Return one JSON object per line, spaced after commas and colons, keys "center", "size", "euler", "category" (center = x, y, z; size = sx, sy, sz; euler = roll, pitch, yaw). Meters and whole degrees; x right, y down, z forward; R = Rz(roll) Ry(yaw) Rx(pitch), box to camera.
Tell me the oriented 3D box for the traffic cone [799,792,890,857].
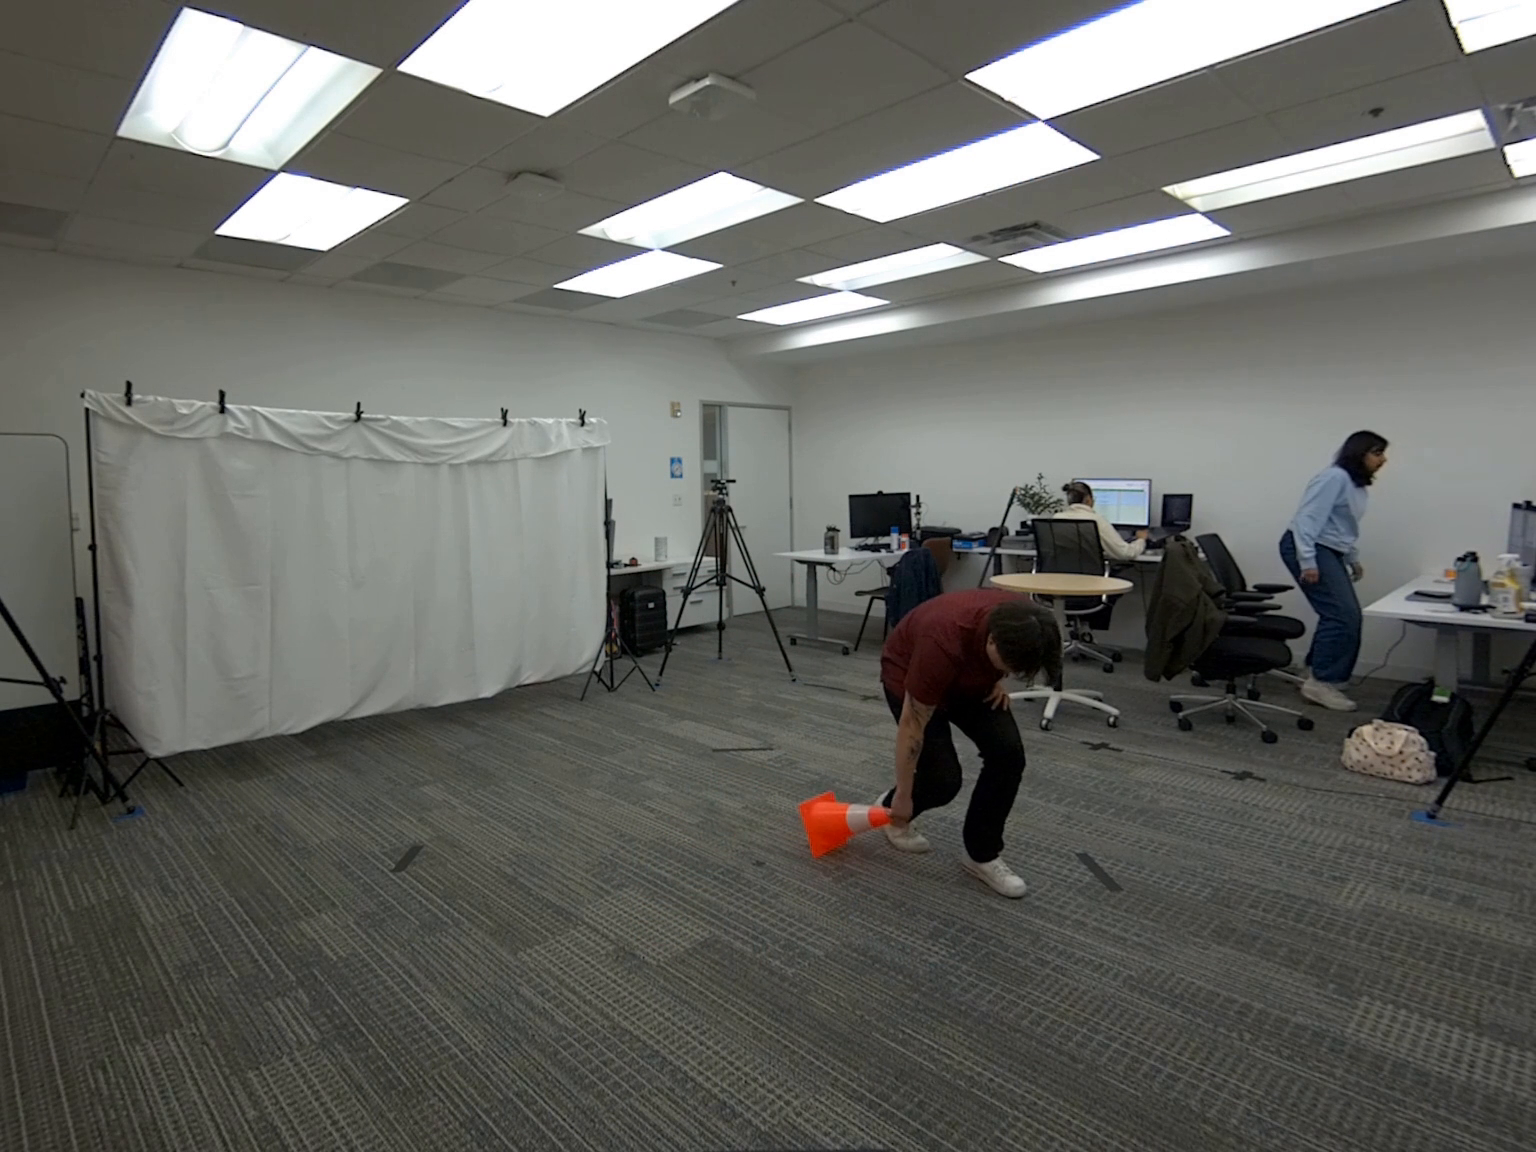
{"center": [0.340, 0.880, 3.110], "size": [0.199, 0.206, 0.390], "euler": [-4, -14, -46], "category": "traffic cone"}
